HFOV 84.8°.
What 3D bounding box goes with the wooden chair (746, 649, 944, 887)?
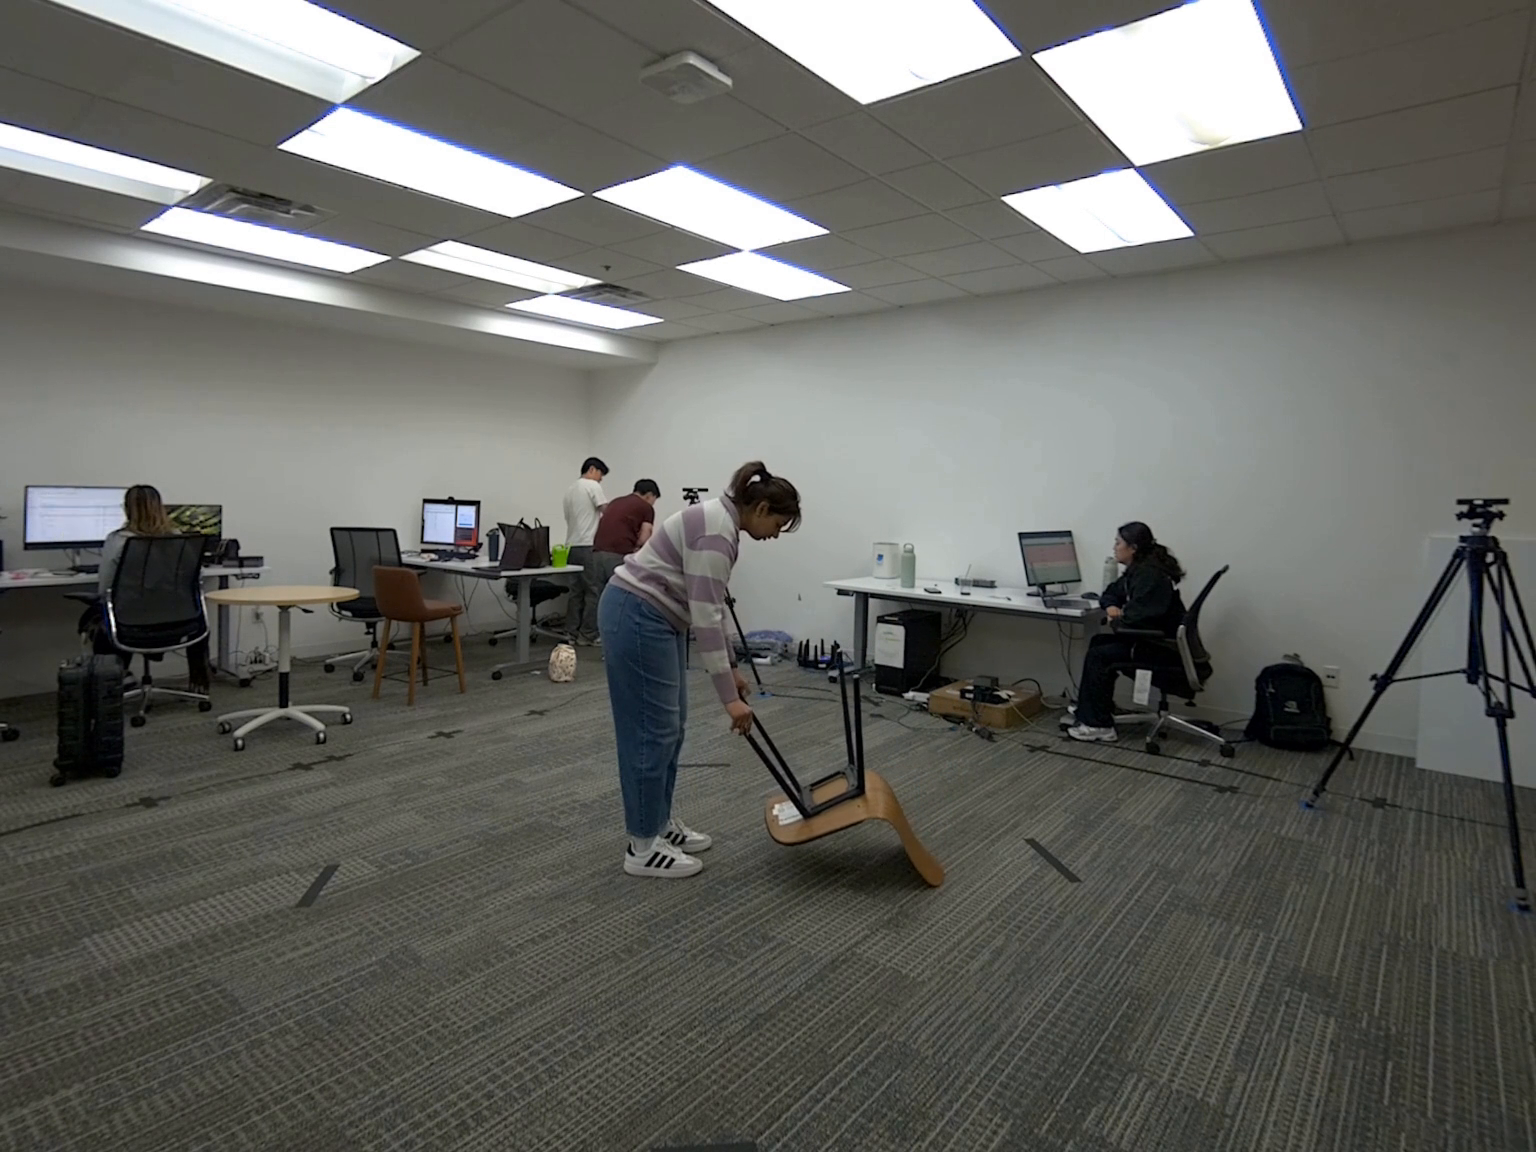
[{"bbox_3d":[0.224,0.802,3.167,0.524,0.874,0.480,-25,4,2],"label":"wooden chair"}]
